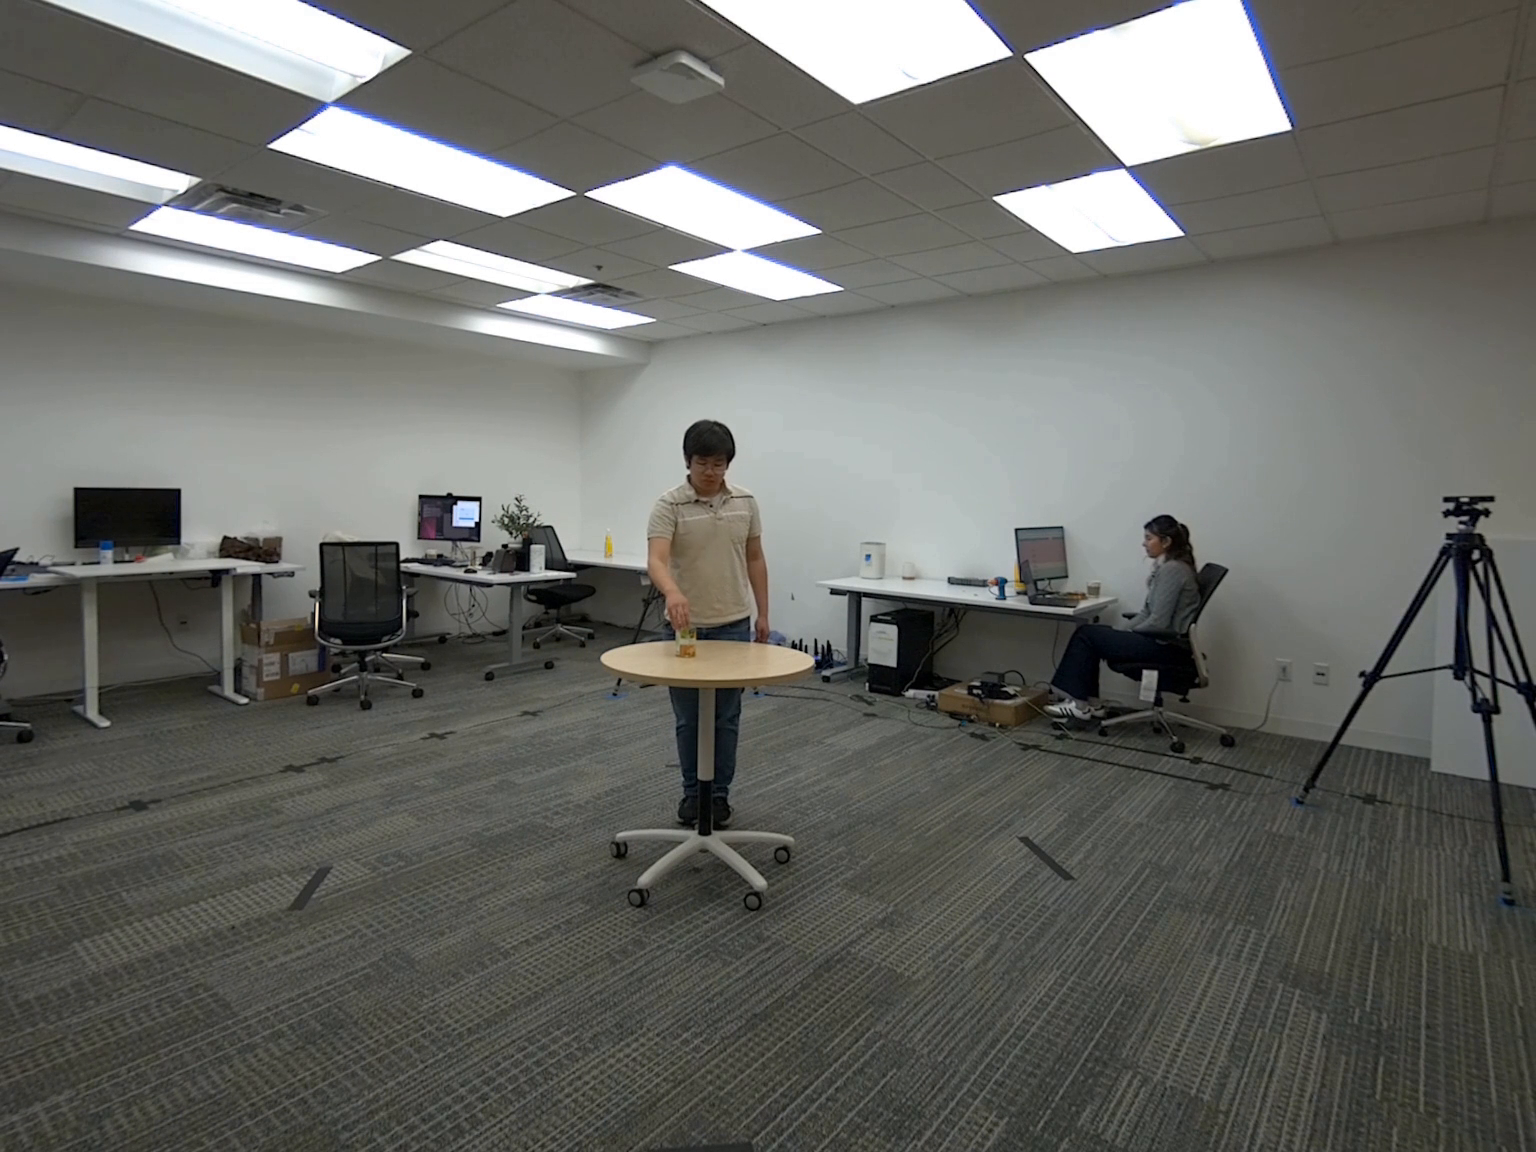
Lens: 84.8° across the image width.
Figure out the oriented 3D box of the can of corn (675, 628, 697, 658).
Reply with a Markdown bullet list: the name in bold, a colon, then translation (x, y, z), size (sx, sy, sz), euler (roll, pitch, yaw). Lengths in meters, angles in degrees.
- **can of corn**: translation (-0.315, 0.231, 3.080), size (0.074, 0.111, 0.074), euler (-2, 0, -2)
